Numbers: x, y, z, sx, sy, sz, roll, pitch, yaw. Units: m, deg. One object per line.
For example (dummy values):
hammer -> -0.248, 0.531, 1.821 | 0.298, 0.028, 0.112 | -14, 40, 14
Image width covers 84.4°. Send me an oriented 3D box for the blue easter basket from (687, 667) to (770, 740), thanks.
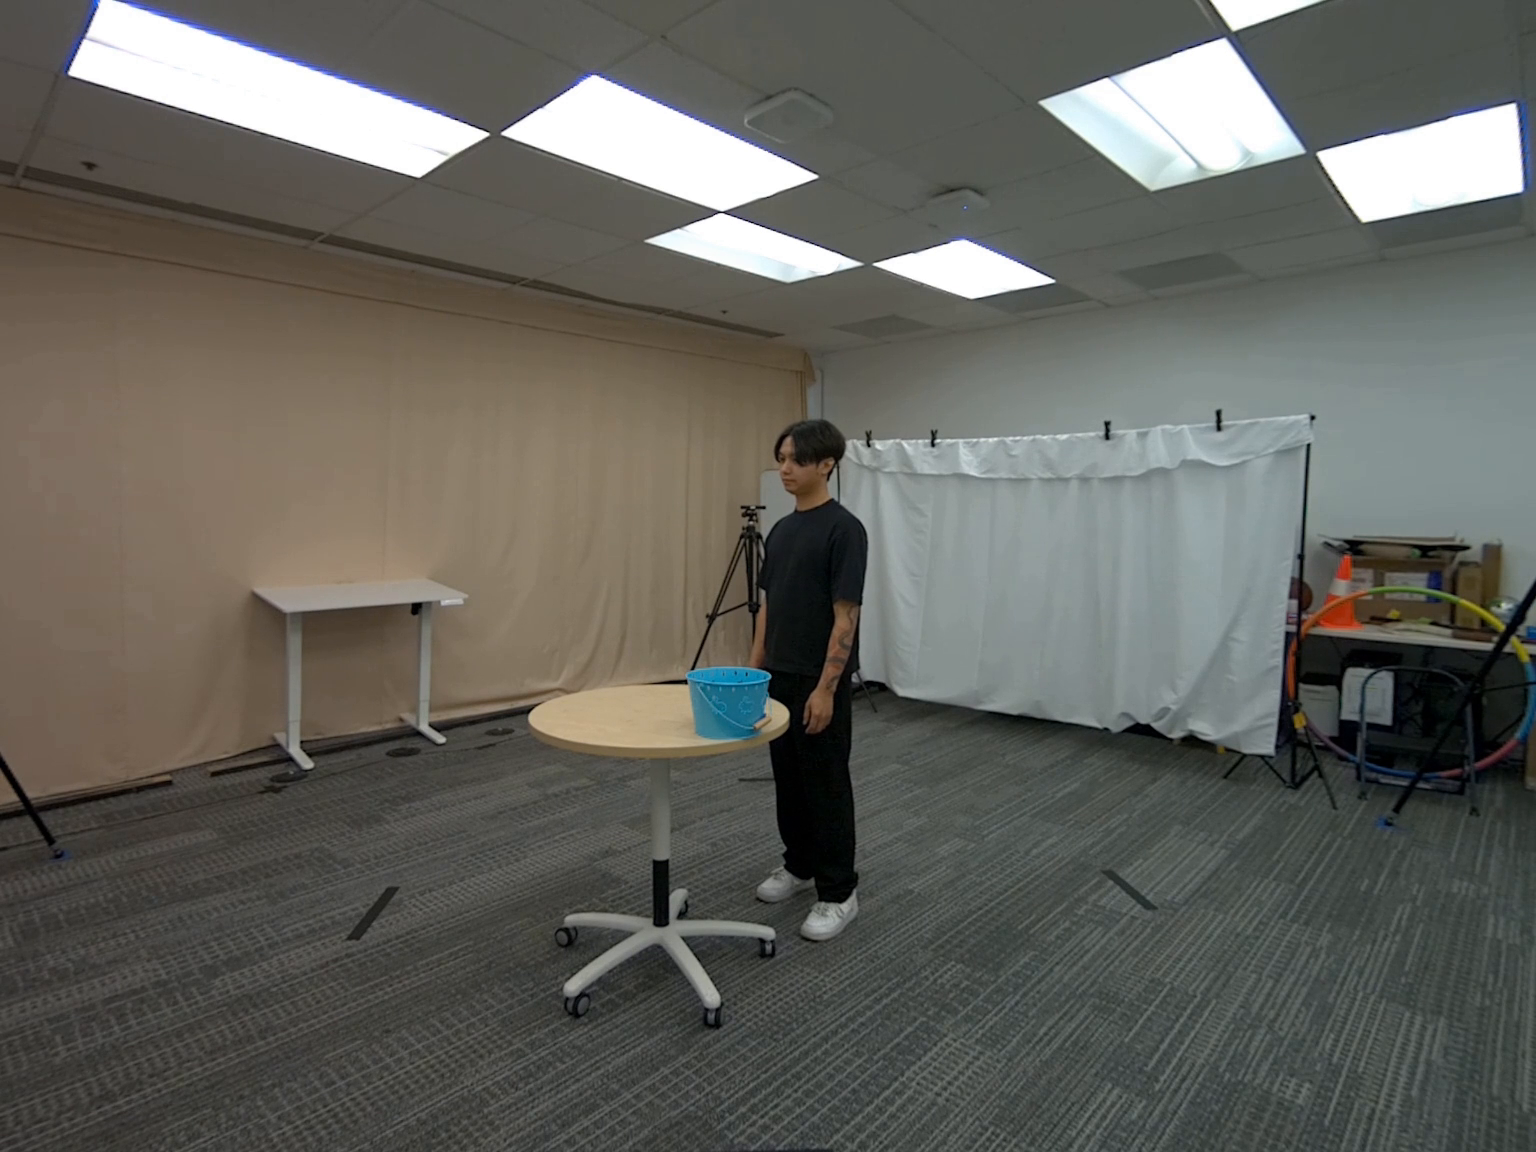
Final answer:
blue easter basket -> -0.108, 0.352, 2.247 | 0.243, 0.155, 0.244 | 0, 4, -2
